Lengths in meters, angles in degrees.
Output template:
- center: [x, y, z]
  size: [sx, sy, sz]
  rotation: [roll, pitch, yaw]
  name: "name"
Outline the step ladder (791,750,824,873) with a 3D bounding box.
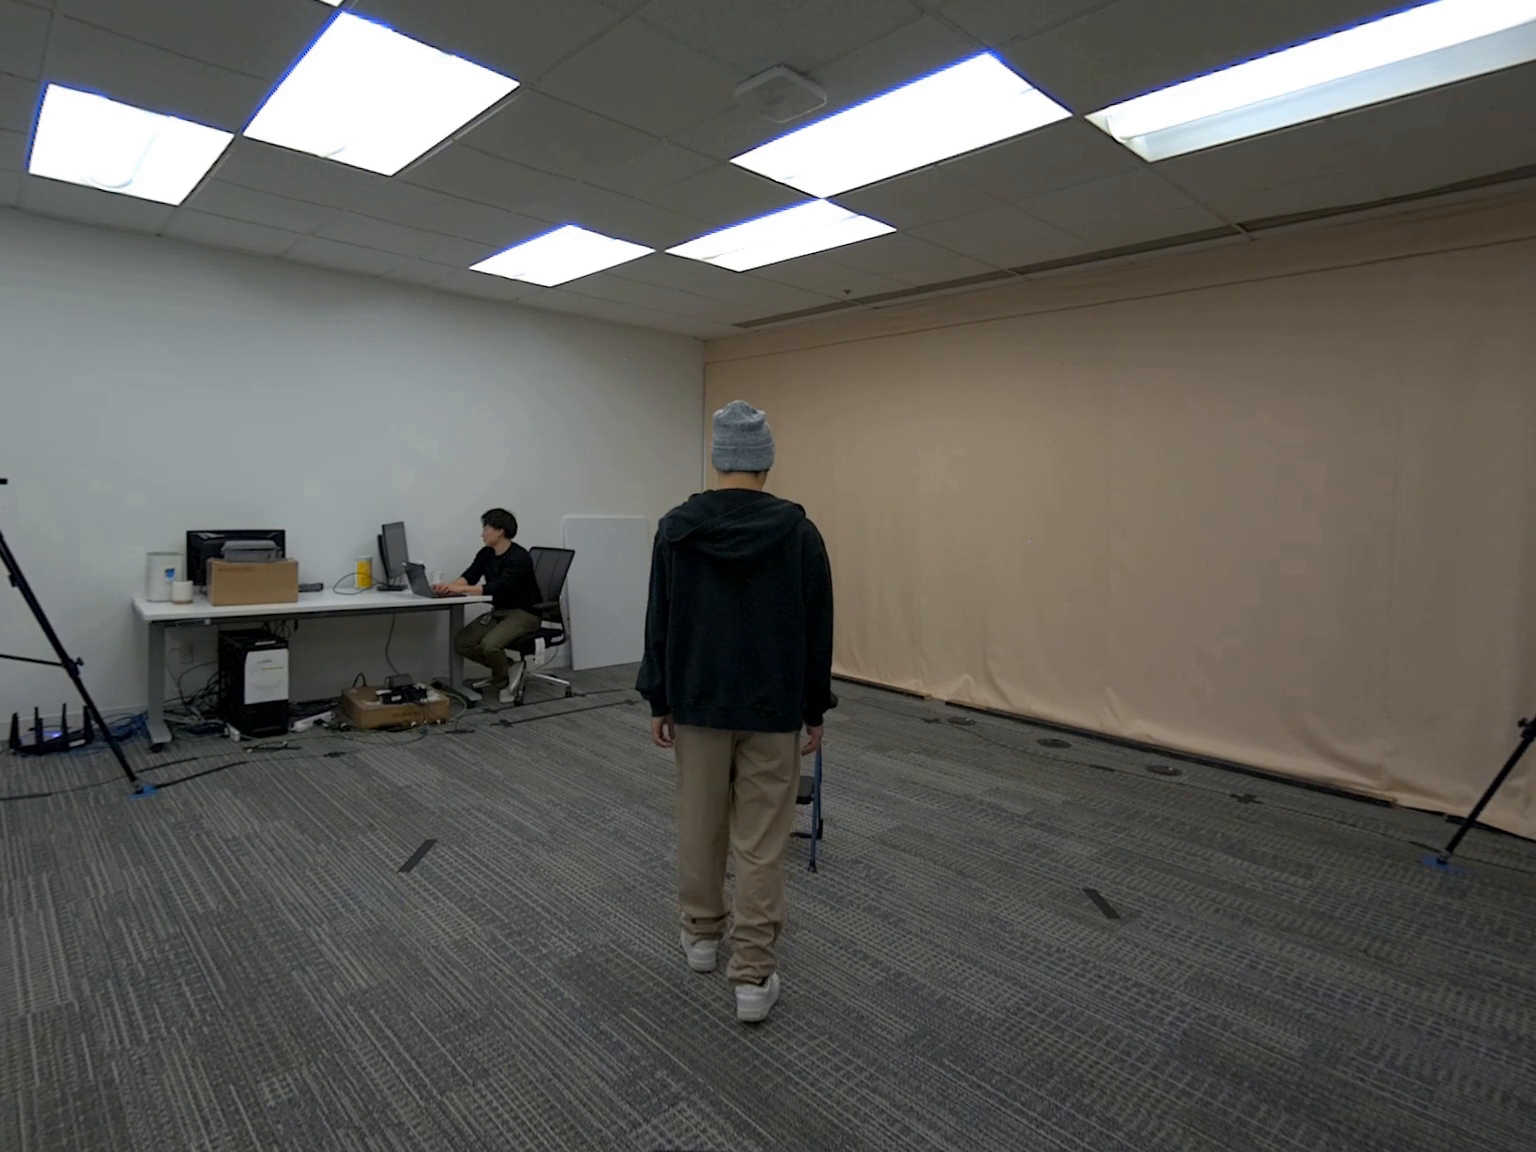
- center: [0.002, 0.790, 3.347]
  size: [0.434, 0.604, 0.347]
  rotation: [1, 3, 10]
  name: "step ladder"
